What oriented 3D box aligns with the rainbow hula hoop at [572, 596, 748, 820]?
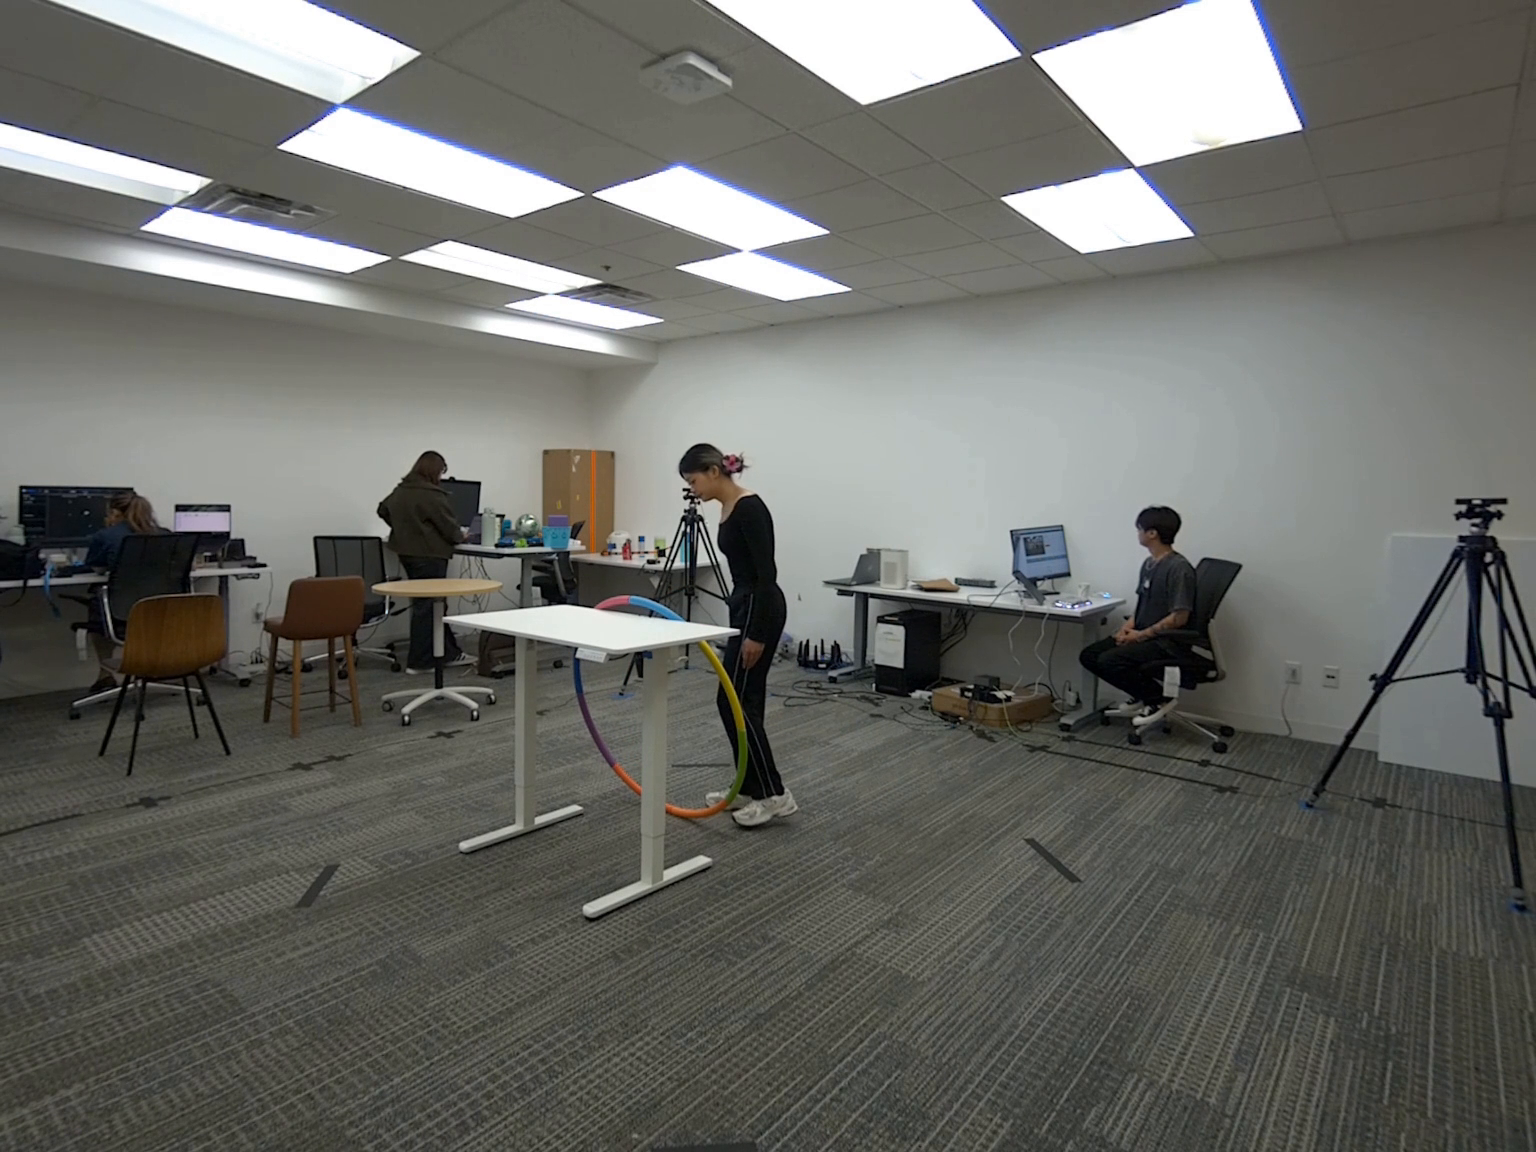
[{"bbox_3d":[-0.484,0.550,3.531,1.011,0.963,0.035,4,19,39],"label":"rainbow hula hoop"}]
